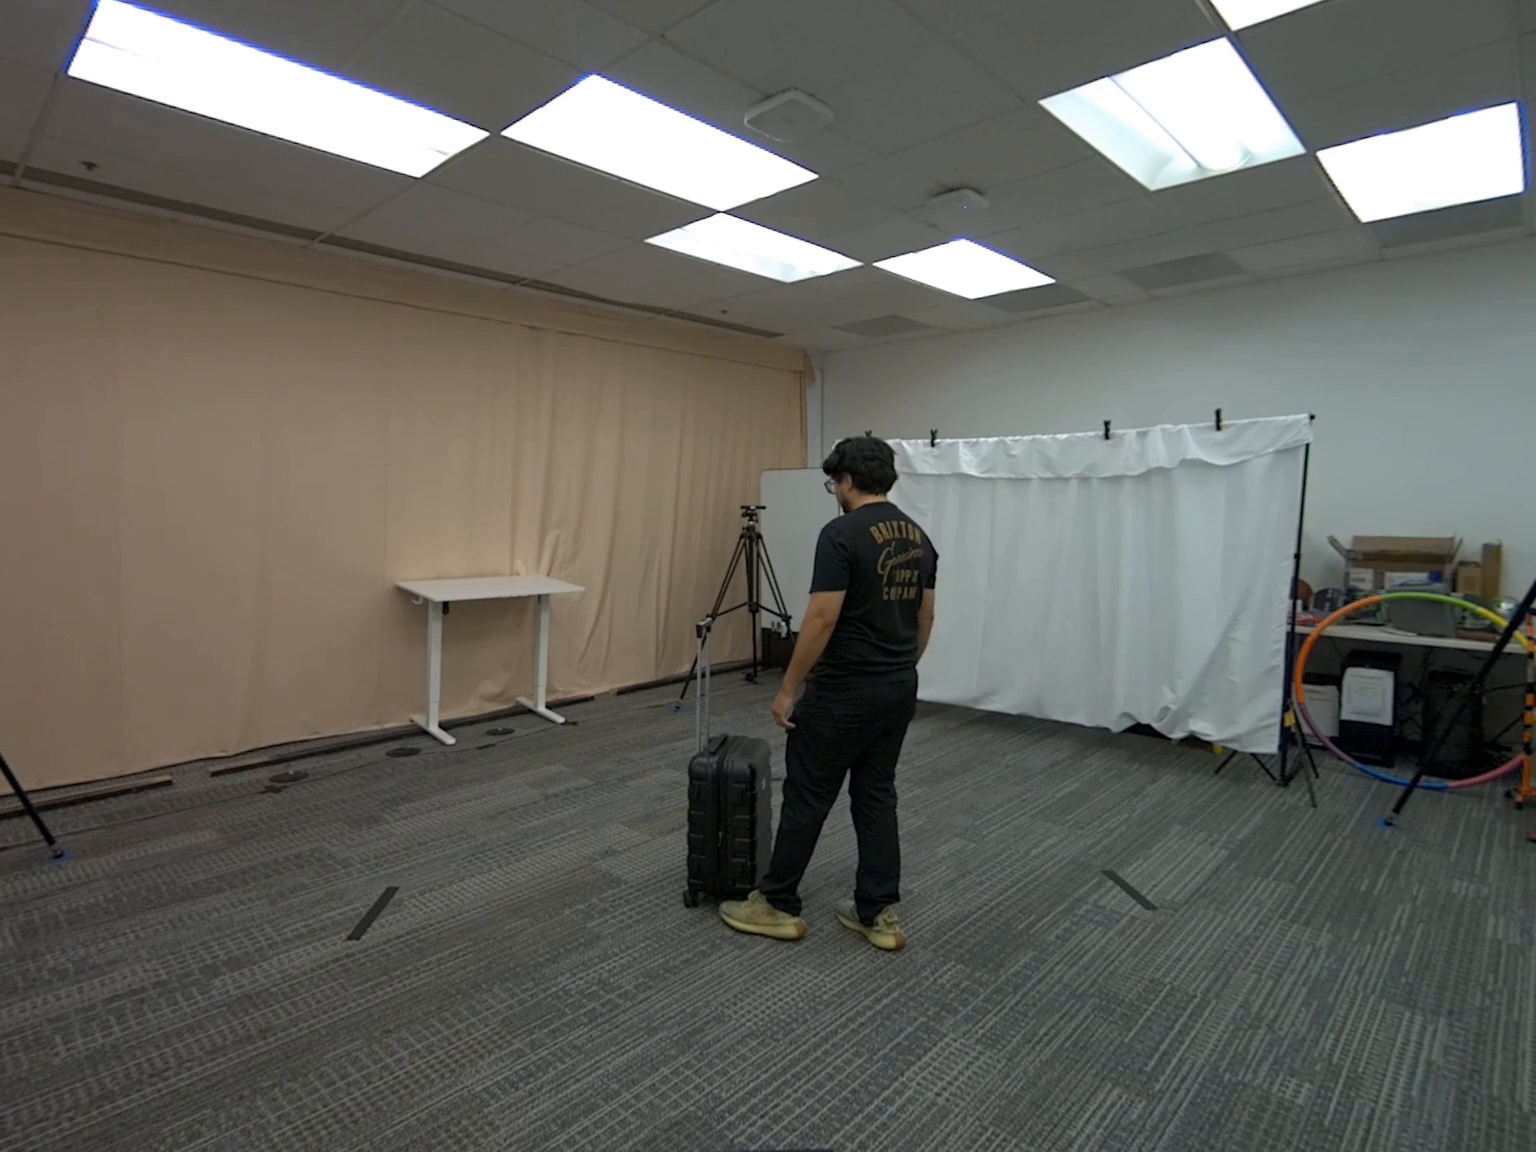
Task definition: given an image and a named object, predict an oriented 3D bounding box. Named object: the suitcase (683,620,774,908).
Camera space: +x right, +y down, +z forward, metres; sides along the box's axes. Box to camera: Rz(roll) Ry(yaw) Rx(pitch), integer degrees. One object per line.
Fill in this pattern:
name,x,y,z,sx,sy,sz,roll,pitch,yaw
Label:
suitcase,-0.126,0.664,3.012,0.261,0.976,0.380,5,5,11
